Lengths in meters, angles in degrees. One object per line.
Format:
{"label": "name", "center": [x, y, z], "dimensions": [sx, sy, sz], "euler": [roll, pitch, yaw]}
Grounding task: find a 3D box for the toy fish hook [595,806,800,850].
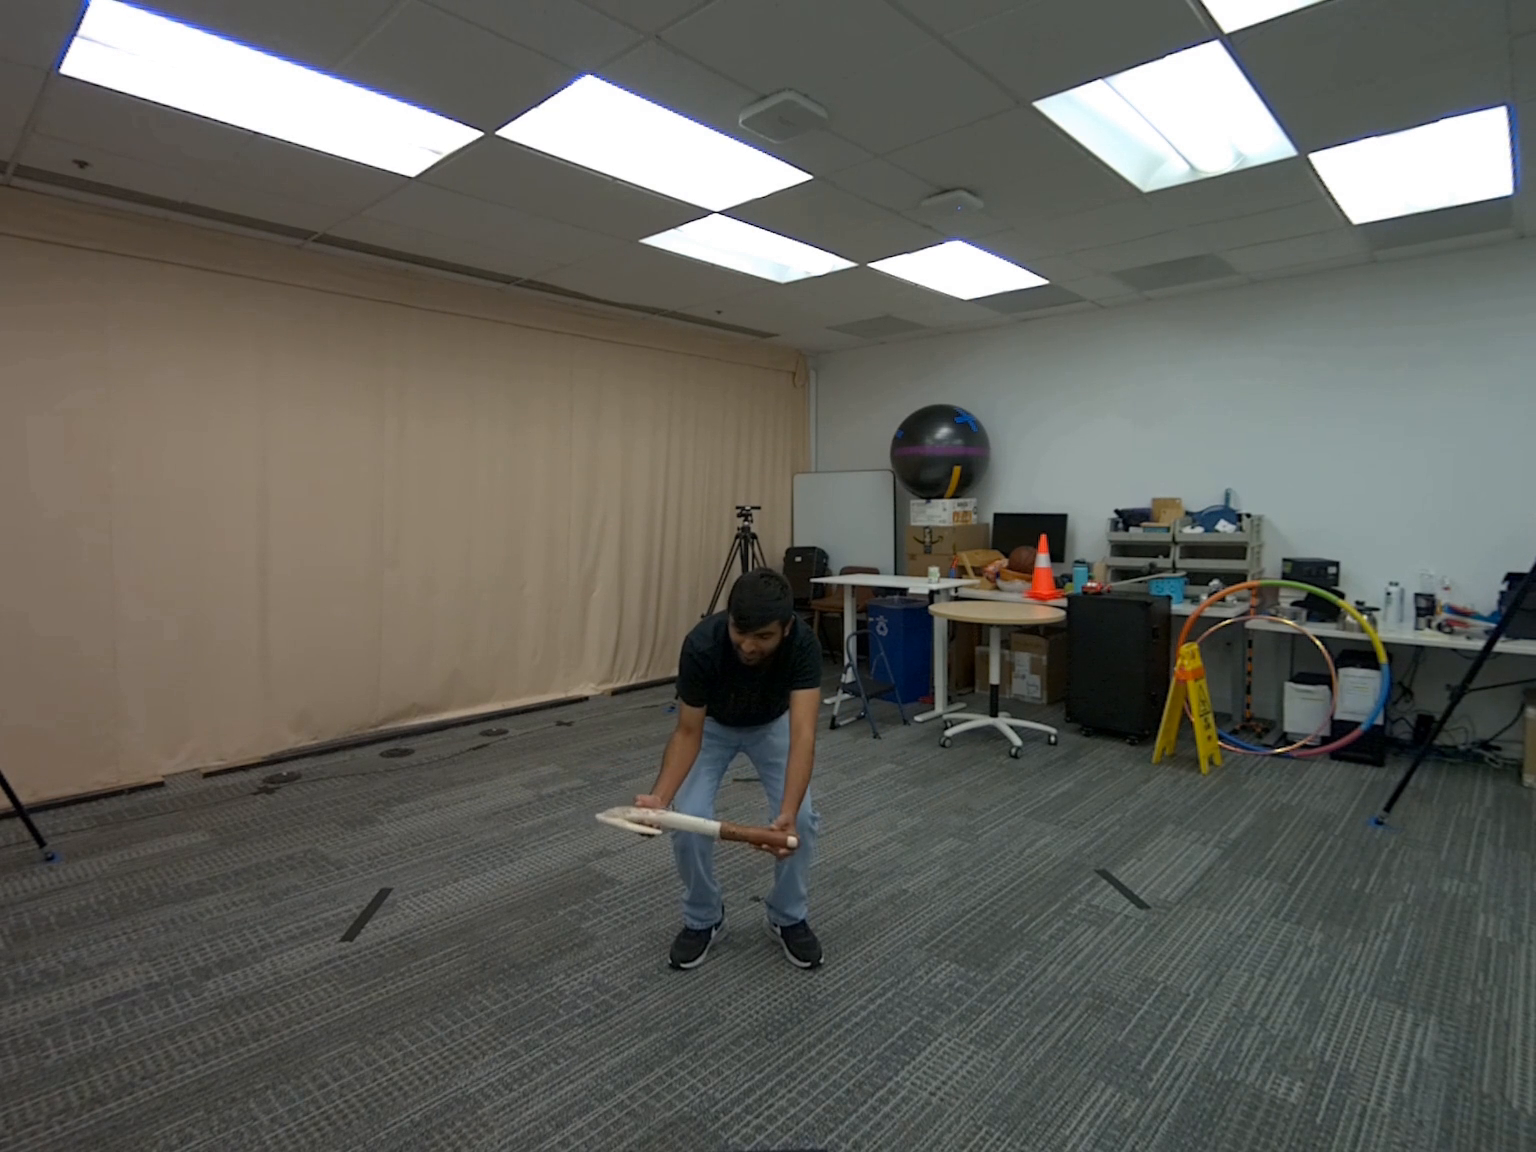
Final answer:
{"label": "toy fish hook", "center": [-0.178, 0.635, 2.077], "dimensions": [0.517, 0.048, 0.219], "euler": [3, -3, 19]}
